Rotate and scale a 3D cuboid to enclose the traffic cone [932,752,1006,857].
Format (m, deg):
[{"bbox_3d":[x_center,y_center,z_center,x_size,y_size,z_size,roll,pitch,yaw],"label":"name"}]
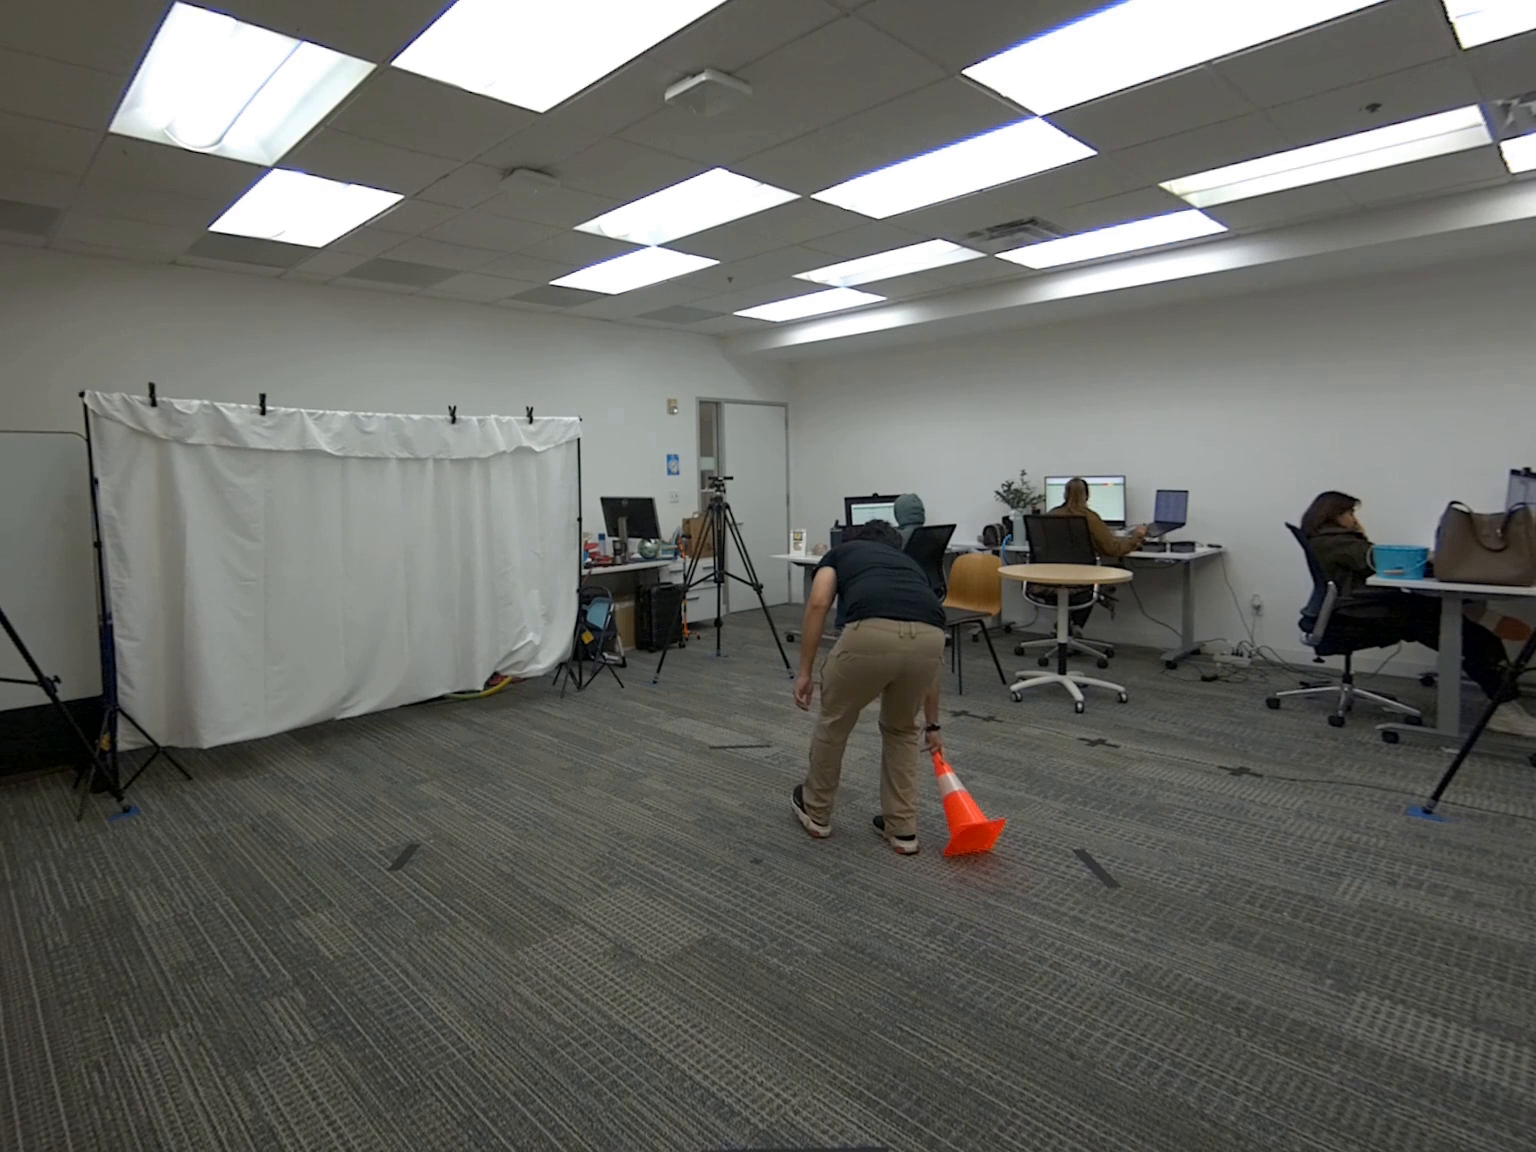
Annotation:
[{"bbox_3d":[0.697,0.816,3.215,0.200,0.201,0.397,-1,40,-17],"label":"traffic cone"}]
